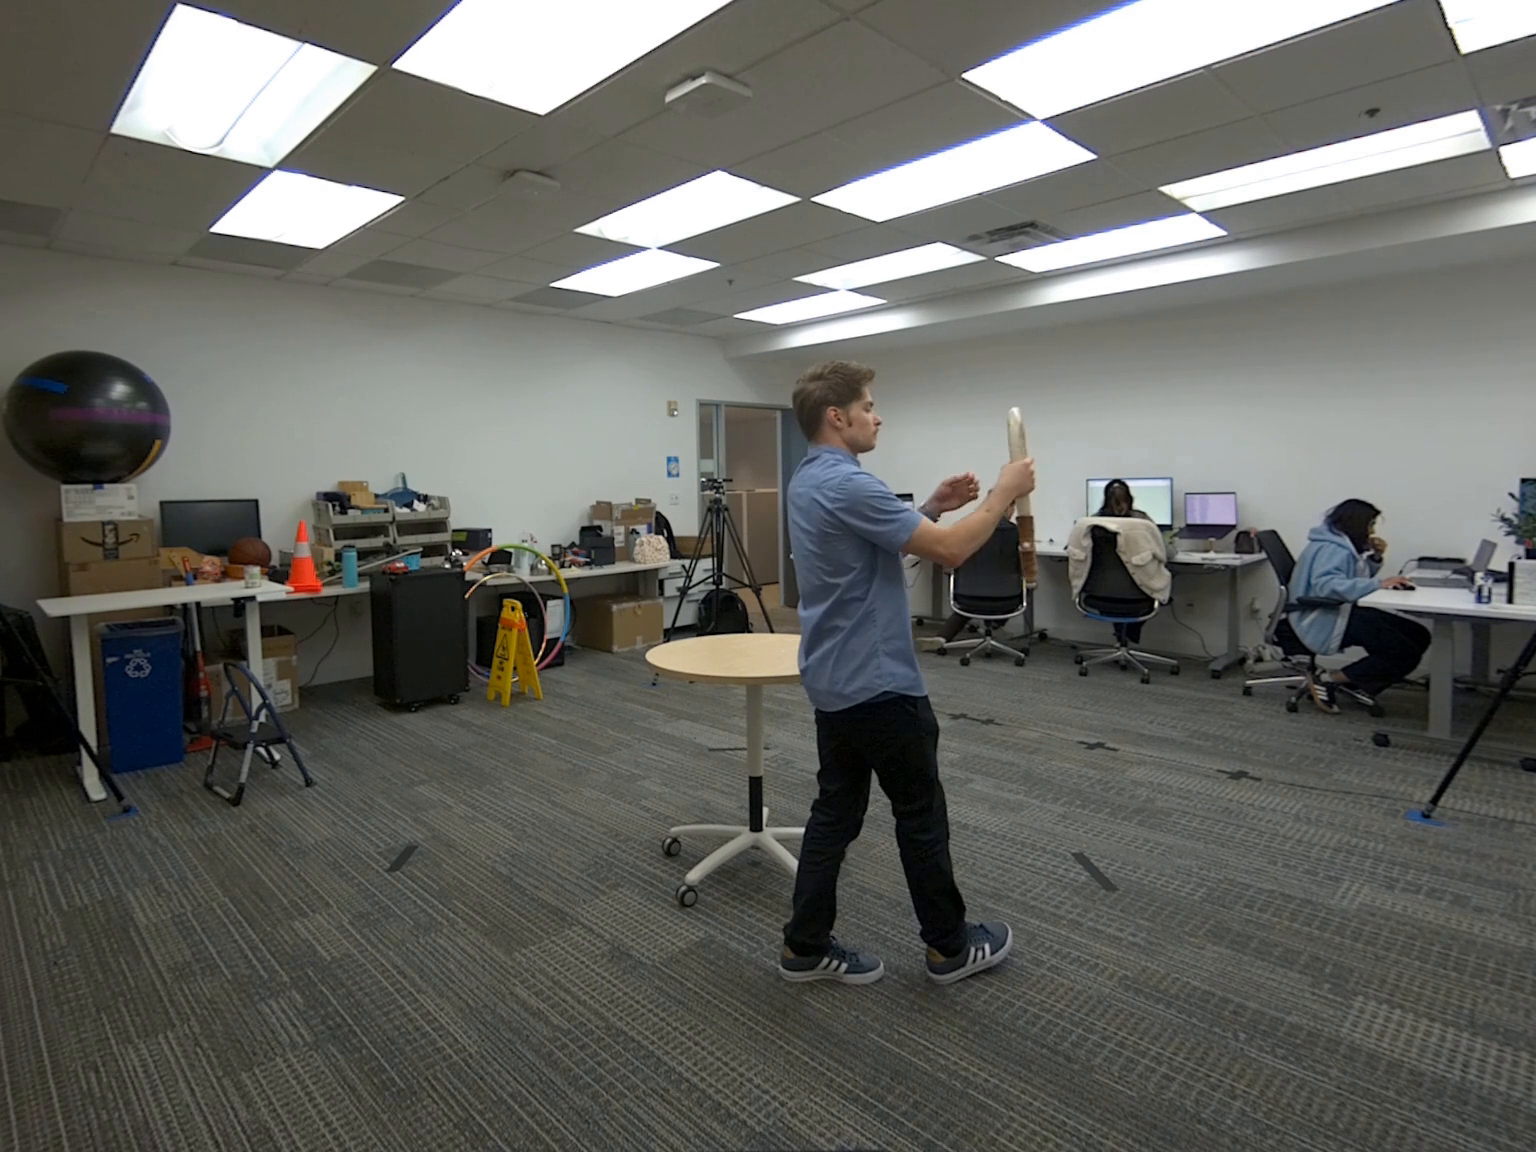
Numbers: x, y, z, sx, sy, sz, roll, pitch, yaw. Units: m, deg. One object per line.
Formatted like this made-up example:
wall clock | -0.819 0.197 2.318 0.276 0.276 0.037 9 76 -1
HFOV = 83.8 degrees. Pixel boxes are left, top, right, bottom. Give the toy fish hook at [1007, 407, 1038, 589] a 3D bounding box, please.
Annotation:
toy fish hook | 0.709 -0.210 2.356 0.049 0.510 0.218 -5 -9 27
